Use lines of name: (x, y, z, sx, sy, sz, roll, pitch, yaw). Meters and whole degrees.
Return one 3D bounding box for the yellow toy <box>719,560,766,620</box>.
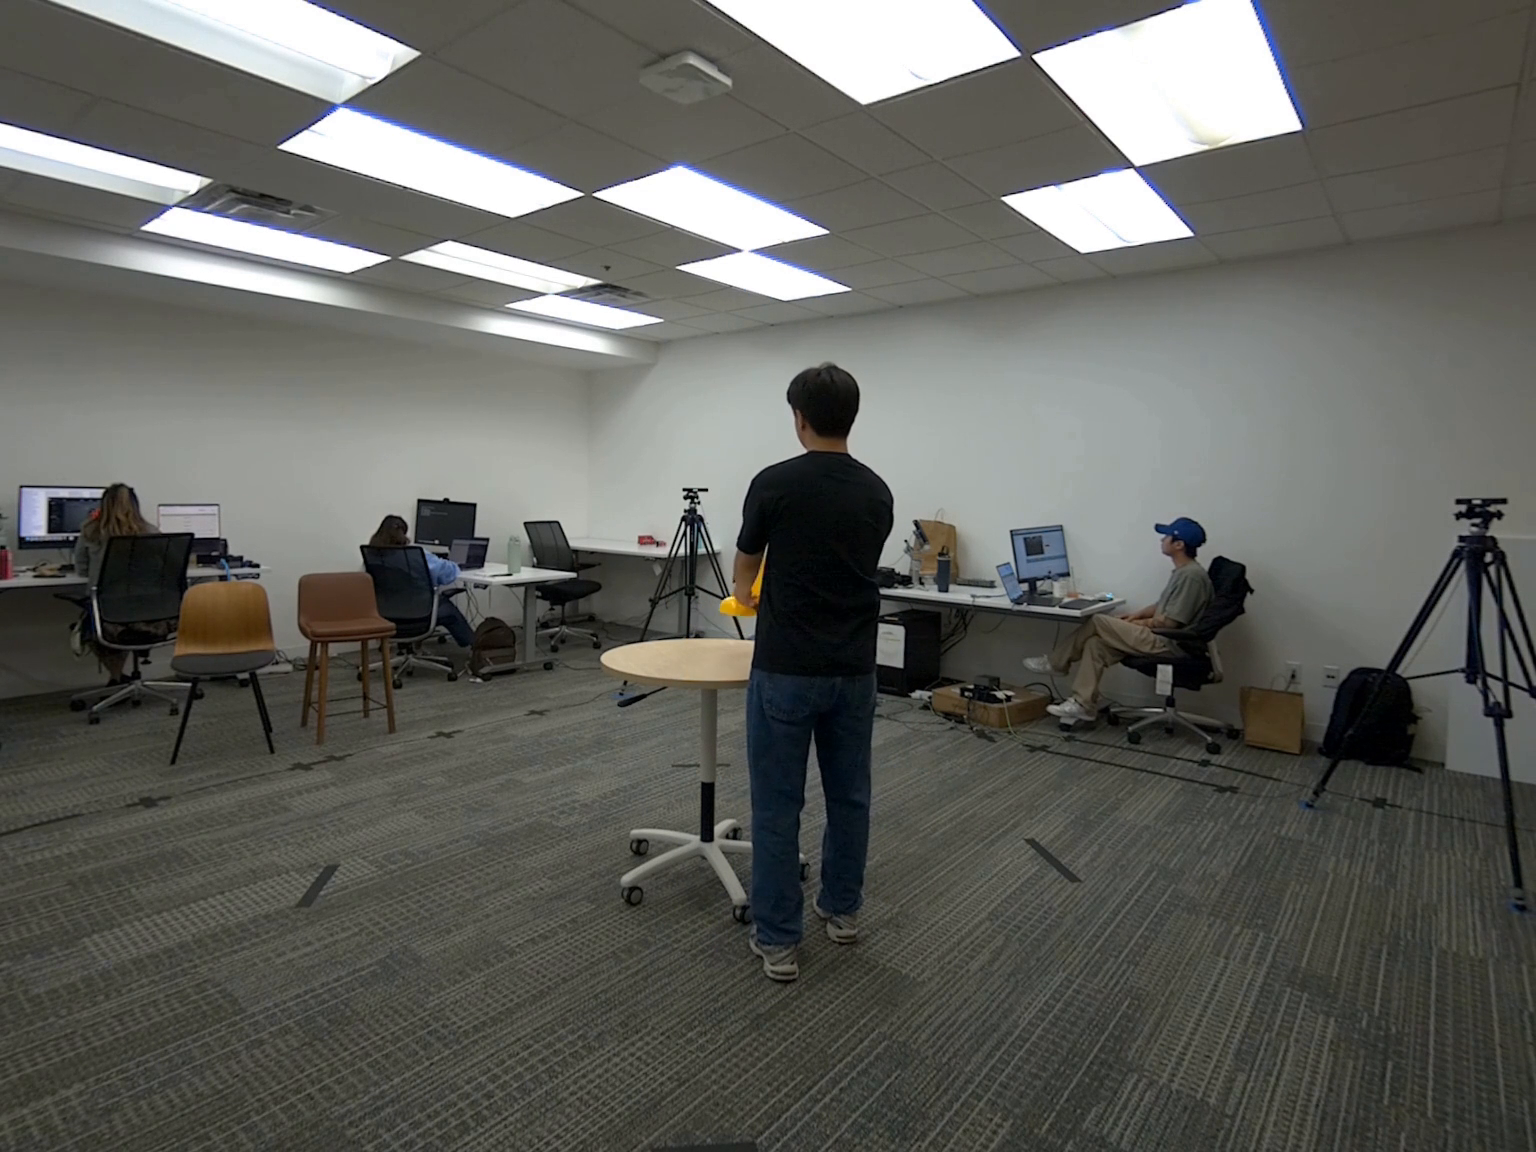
yellow toy: (-0.073, 0.018, 3.092, 0.198, 0.229, 0.200, -3, 8, -42)
